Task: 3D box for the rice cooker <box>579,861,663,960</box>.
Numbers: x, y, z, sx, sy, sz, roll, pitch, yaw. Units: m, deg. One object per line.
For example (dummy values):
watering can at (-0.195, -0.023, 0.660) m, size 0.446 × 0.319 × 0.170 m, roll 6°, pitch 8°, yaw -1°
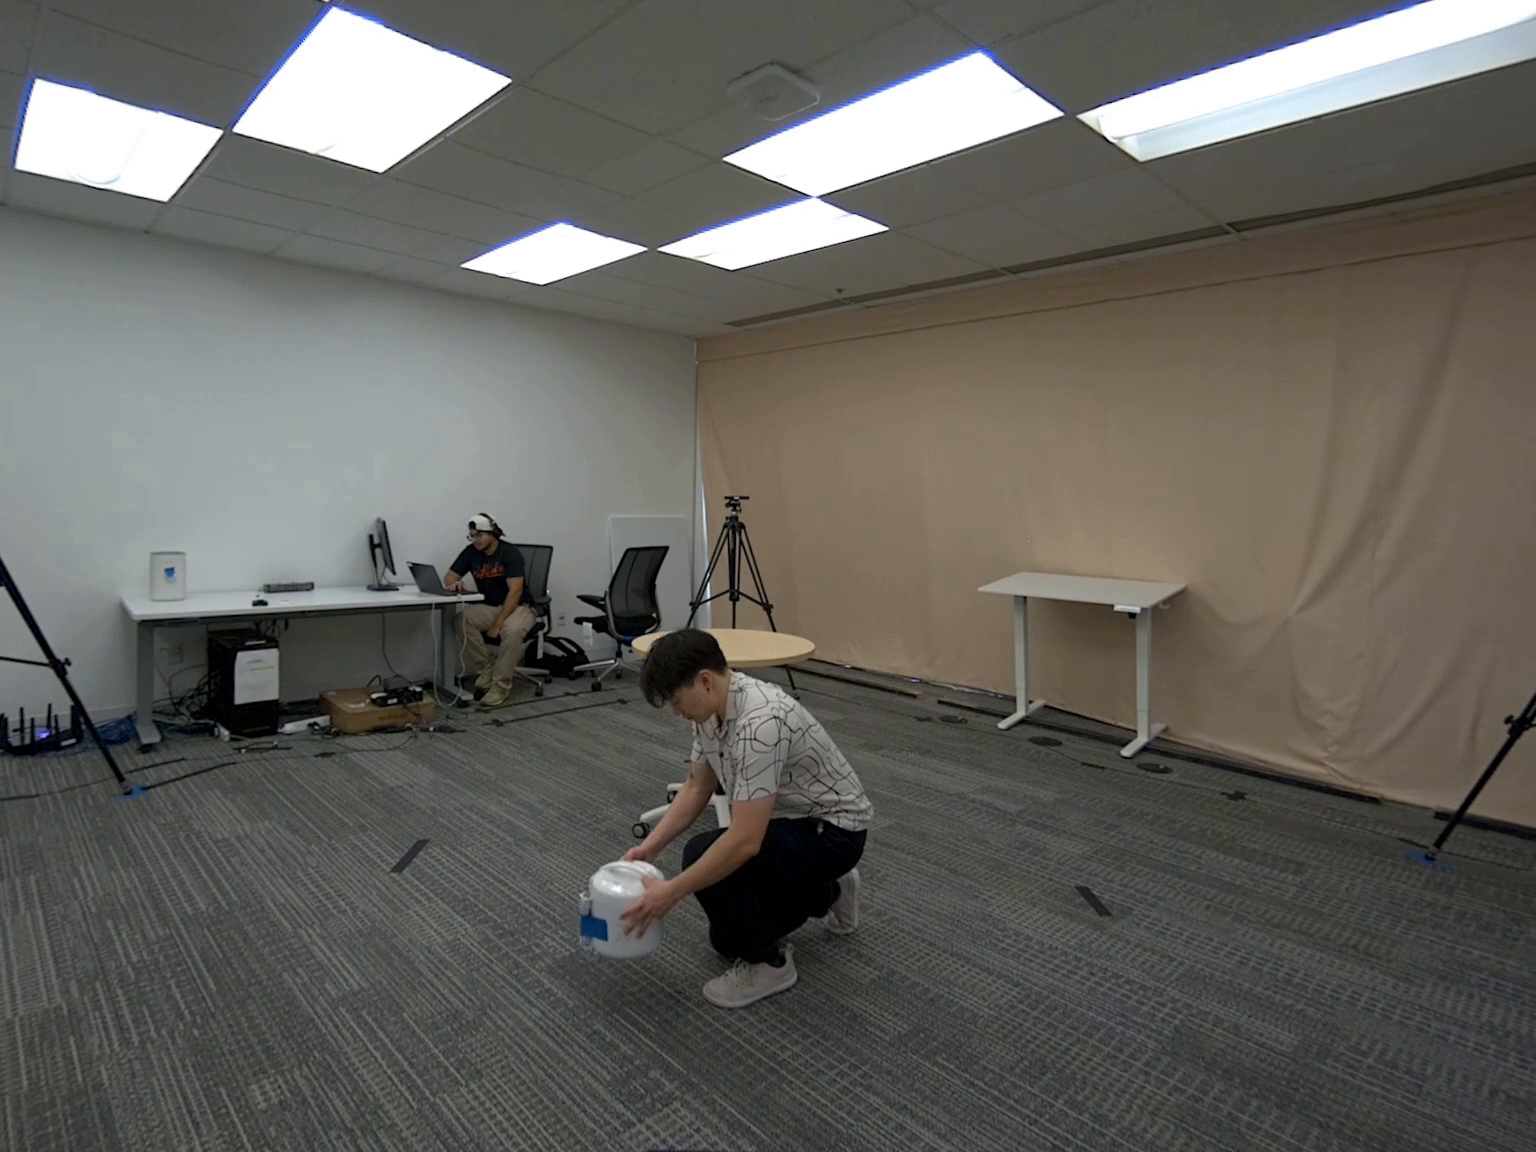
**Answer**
rice cooker at (-0.389, 0.902, 2.333) m, size 0.224 × 0.232 × 0.214 m, roll 6°, pitch 5°, yaw 19°
